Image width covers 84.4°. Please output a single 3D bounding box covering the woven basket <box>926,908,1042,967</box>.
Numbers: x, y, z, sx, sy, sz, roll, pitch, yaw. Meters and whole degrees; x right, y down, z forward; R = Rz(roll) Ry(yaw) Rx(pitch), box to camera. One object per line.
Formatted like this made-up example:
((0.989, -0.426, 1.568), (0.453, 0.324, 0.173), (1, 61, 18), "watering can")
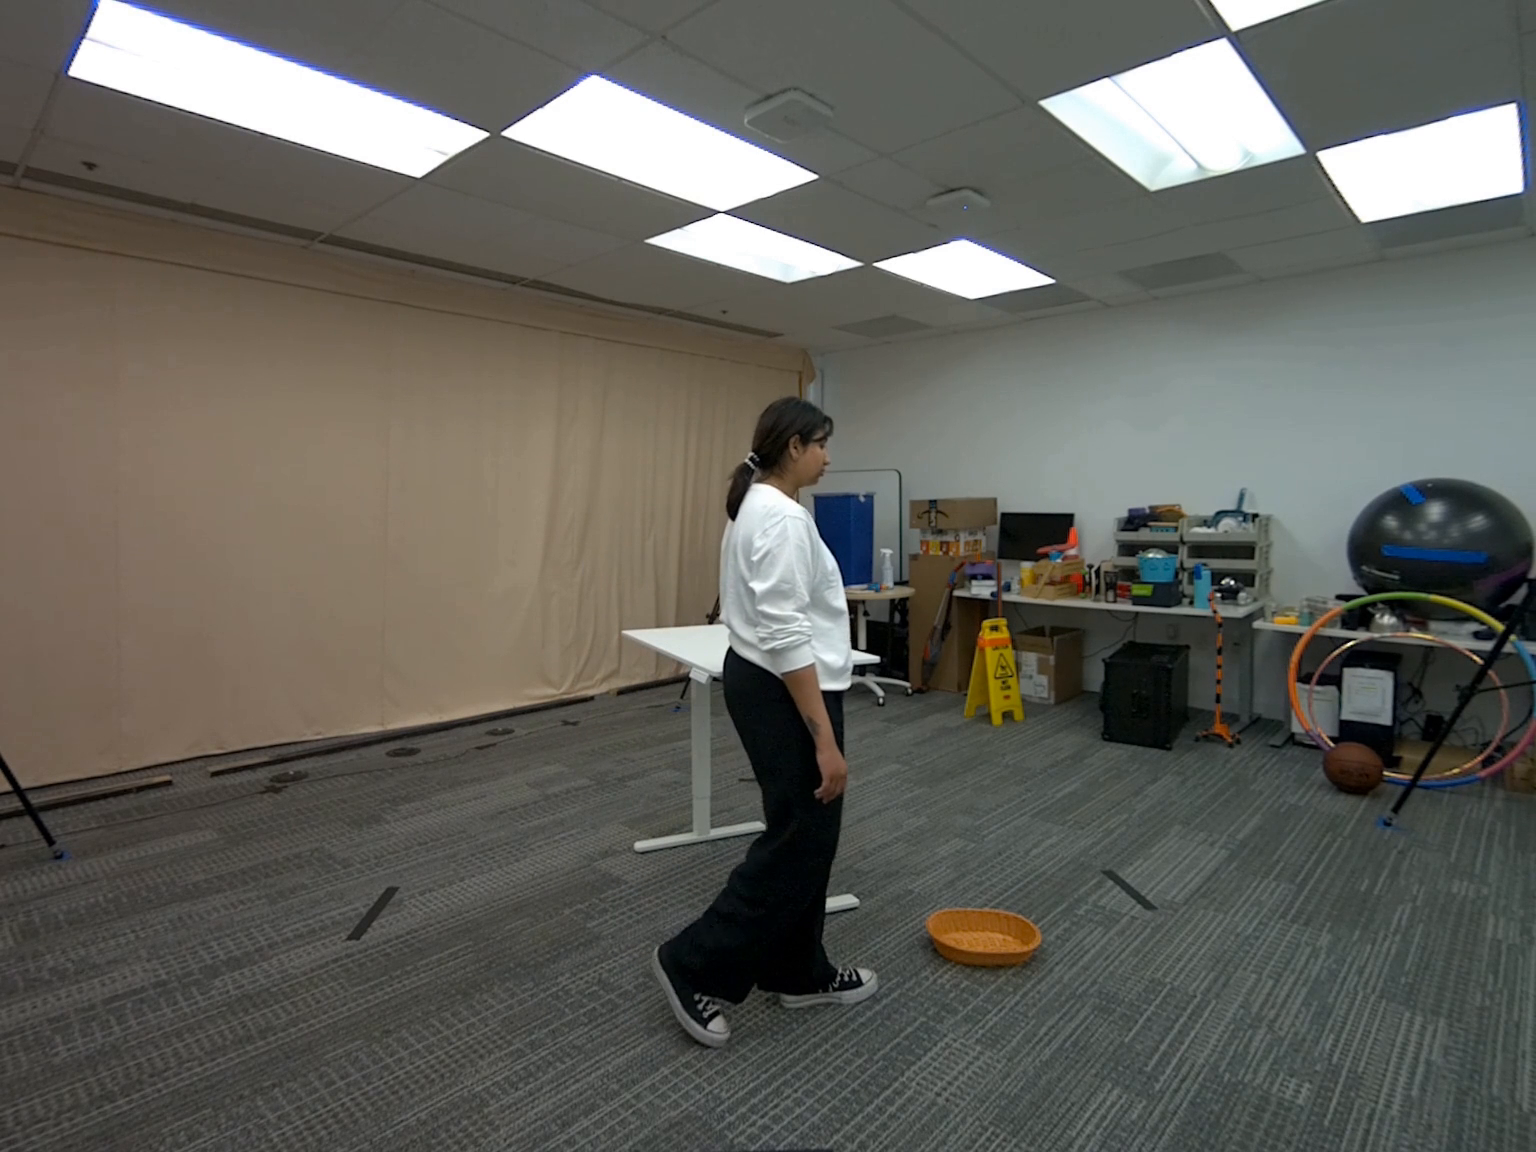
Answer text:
((0.680, 1.131, 2.629), (0.352, 0.073, 0.252), (0, 6, 2), "woven basket")
